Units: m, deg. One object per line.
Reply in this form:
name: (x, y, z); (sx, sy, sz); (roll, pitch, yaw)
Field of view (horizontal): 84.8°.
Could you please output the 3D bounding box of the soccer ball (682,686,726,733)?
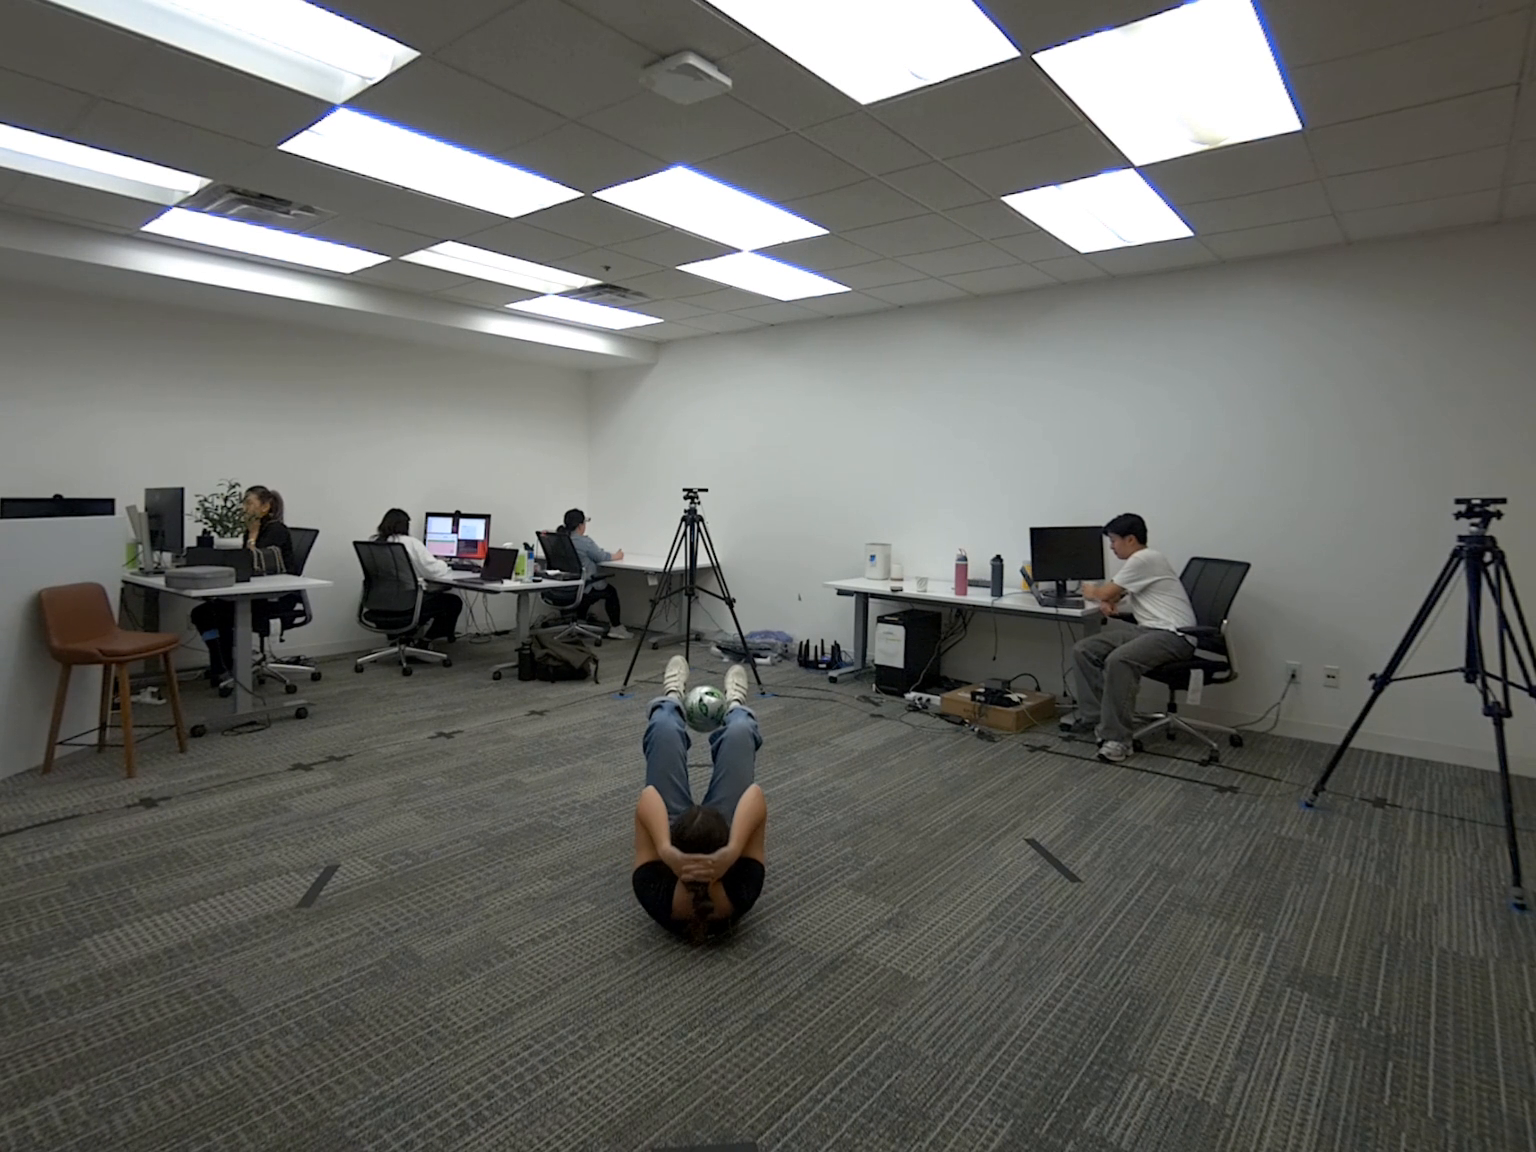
soccer ball: (-0.259, 0.529, 3.416); (0.187, 0.187, 0.188); (-3, 4, -2)
